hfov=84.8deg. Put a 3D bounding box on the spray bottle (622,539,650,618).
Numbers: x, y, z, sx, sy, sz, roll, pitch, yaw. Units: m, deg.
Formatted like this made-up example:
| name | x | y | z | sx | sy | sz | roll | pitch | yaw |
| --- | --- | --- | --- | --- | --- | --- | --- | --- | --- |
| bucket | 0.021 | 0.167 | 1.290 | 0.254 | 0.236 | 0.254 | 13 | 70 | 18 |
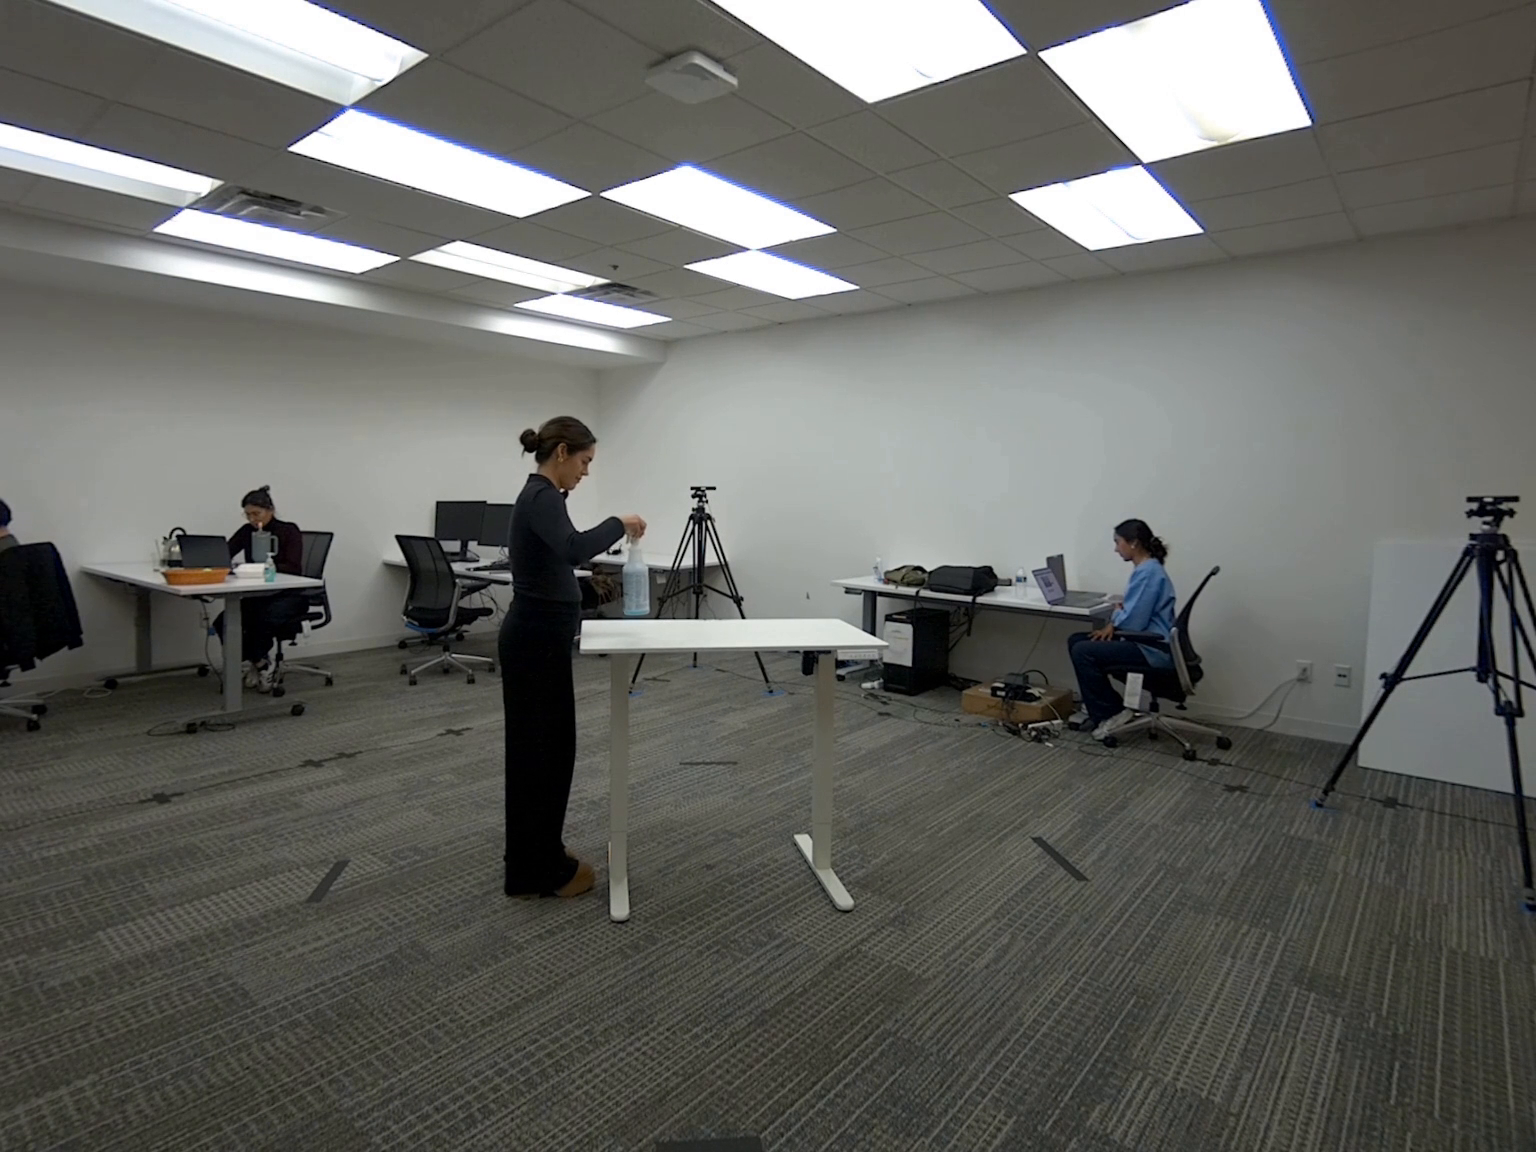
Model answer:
| name | x | y | z | sx | sy | sz | roll | pitch | yaw |
| --- | --- | --- | --- | --- | --- | --- | --- | --- | --- |
| spray bottle | -0.472 | -0.016 | 2.873 | 0.087 | 0.296 | 0.090 | -7 | 6 | -37 |
